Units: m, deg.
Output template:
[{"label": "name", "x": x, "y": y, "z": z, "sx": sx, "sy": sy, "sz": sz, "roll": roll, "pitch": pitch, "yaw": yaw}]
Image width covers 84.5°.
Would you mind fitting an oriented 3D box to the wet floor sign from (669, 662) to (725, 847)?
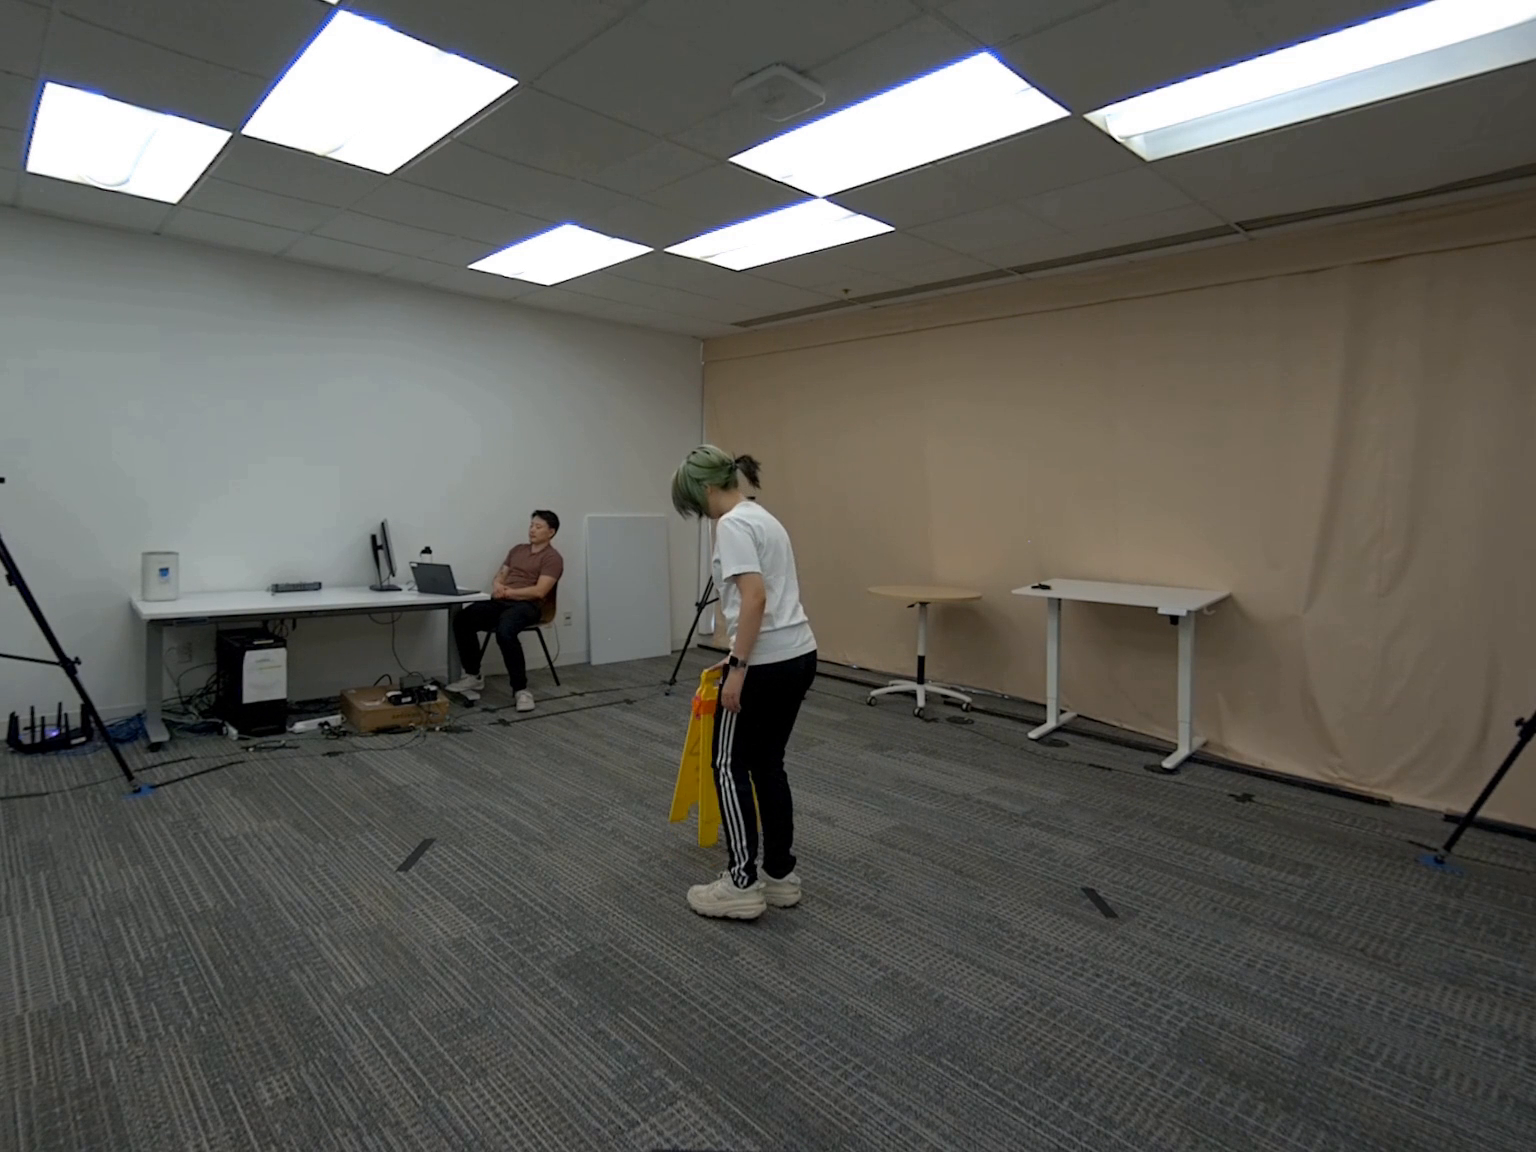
[{"label": "wet floor sign", "x": -0.197, "y": 0.678, "z": 3.303, "sx": 0.276, "sy": 0.644, "sz": 0.297, "roll": 1, "pitch": 5, "yaw": -34}]
